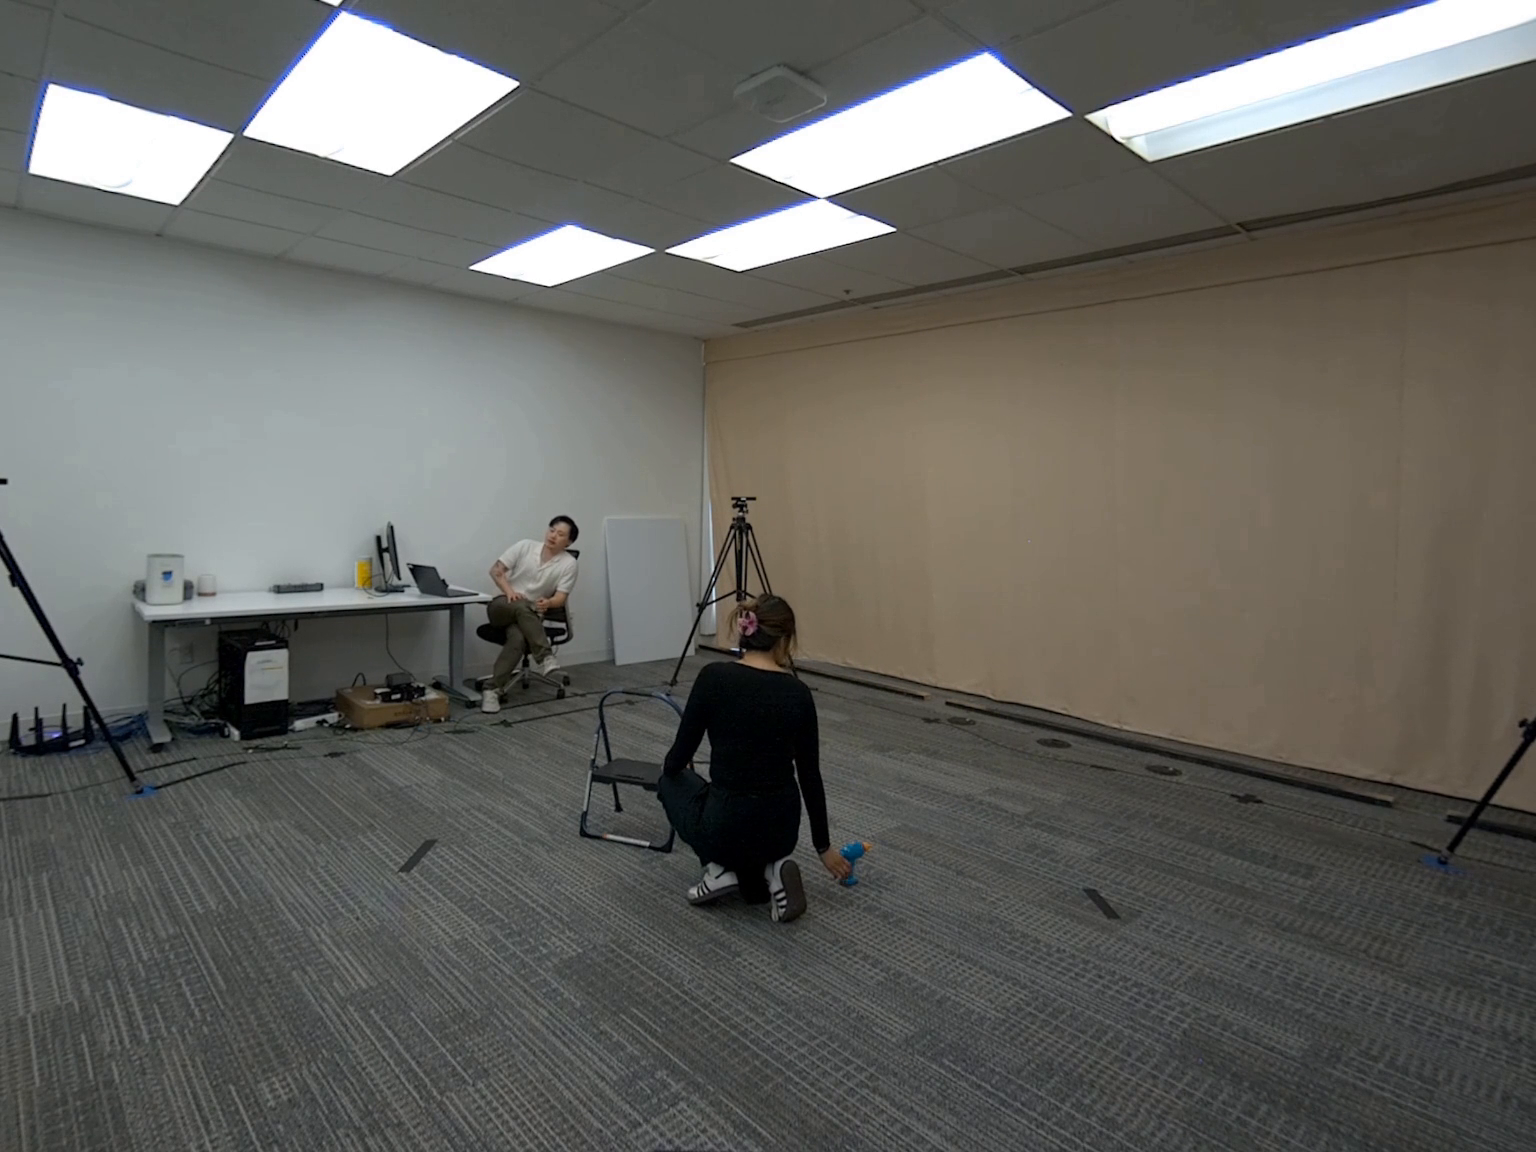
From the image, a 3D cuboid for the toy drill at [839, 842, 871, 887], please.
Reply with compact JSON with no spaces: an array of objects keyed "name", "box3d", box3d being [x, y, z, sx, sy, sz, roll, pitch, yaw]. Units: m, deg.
[{"name":"toy drill","box3d":[0.312,1.046,3.083,0.166,0.146,0.063,0,3,-38]}]
